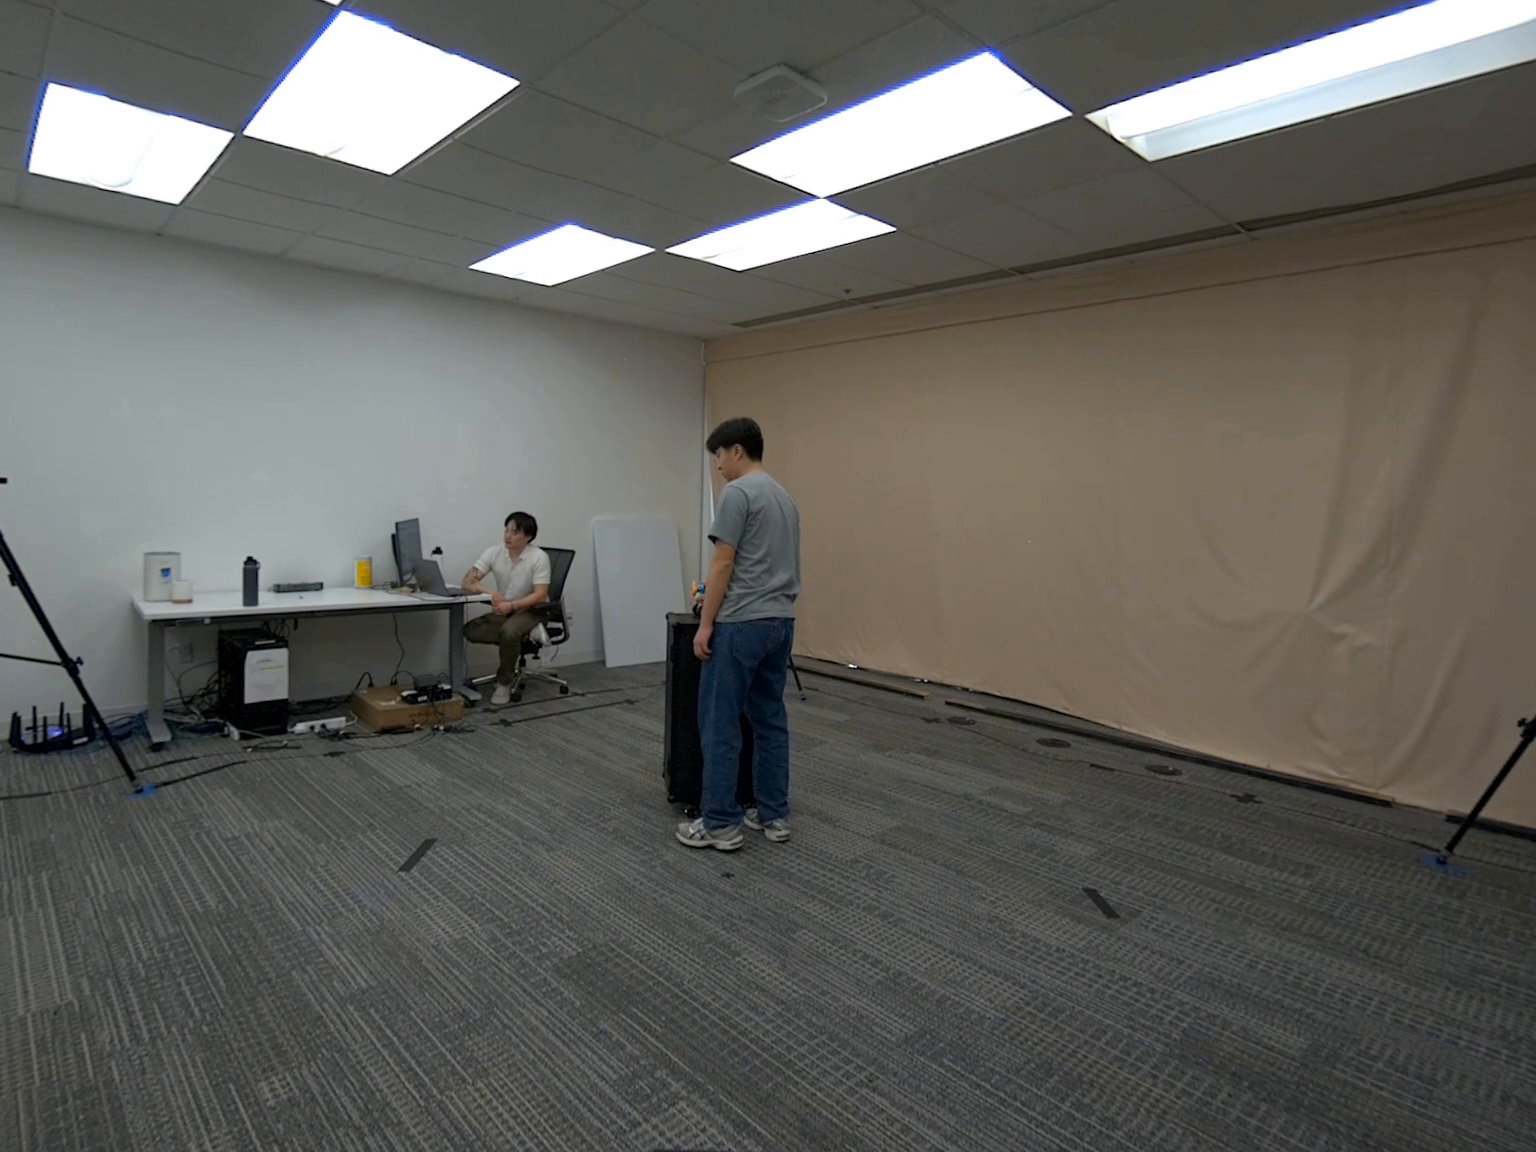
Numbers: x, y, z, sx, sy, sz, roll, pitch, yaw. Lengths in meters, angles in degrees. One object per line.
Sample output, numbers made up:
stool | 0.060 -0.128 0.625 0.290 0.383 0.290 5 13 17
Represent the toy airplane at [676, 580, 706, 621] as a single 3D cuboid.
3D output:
toy airplane | -0.244 0.110 3.917 0.257 0.156 0.253 6 6 44
